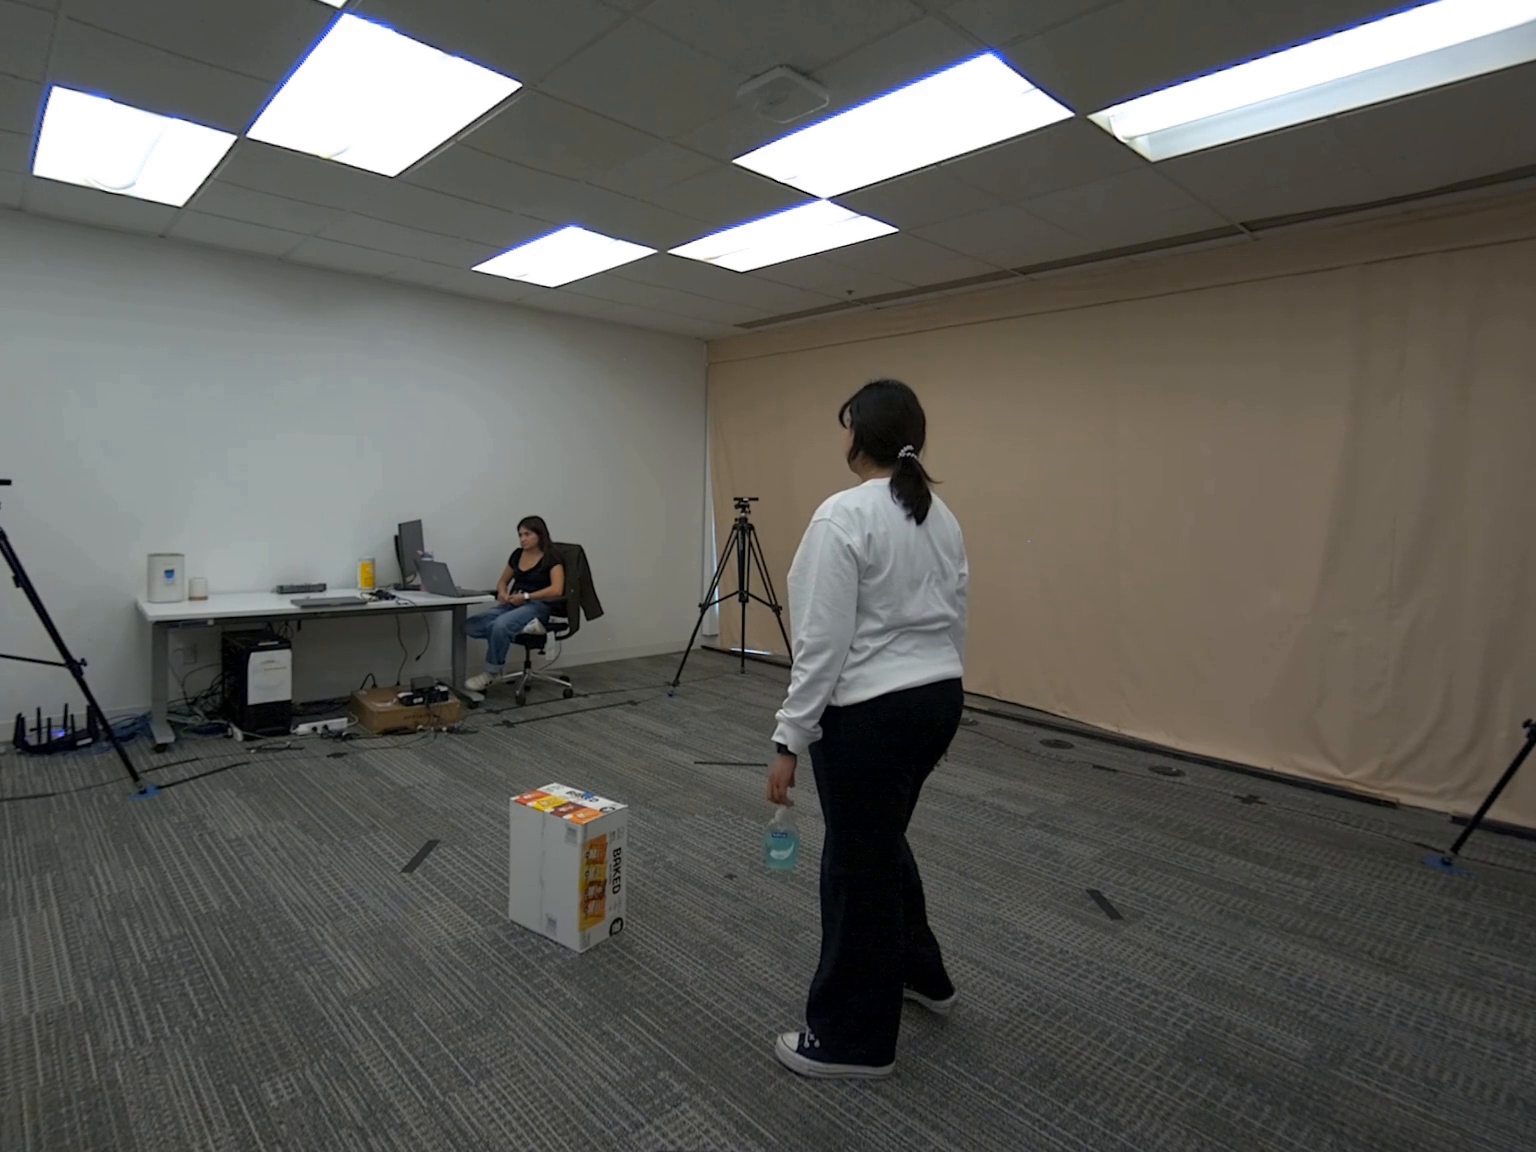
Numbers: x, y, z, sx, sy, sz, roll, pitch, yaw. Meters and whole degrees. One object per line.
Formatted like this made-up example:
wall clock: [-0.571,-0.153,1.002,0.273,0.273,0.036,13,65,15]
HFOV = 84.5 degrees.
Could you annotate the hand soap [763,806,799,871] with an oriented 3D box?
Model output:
hand soap: [0.039,0.609,1.976,0.085,0.168,0.043,1,-1,4]
